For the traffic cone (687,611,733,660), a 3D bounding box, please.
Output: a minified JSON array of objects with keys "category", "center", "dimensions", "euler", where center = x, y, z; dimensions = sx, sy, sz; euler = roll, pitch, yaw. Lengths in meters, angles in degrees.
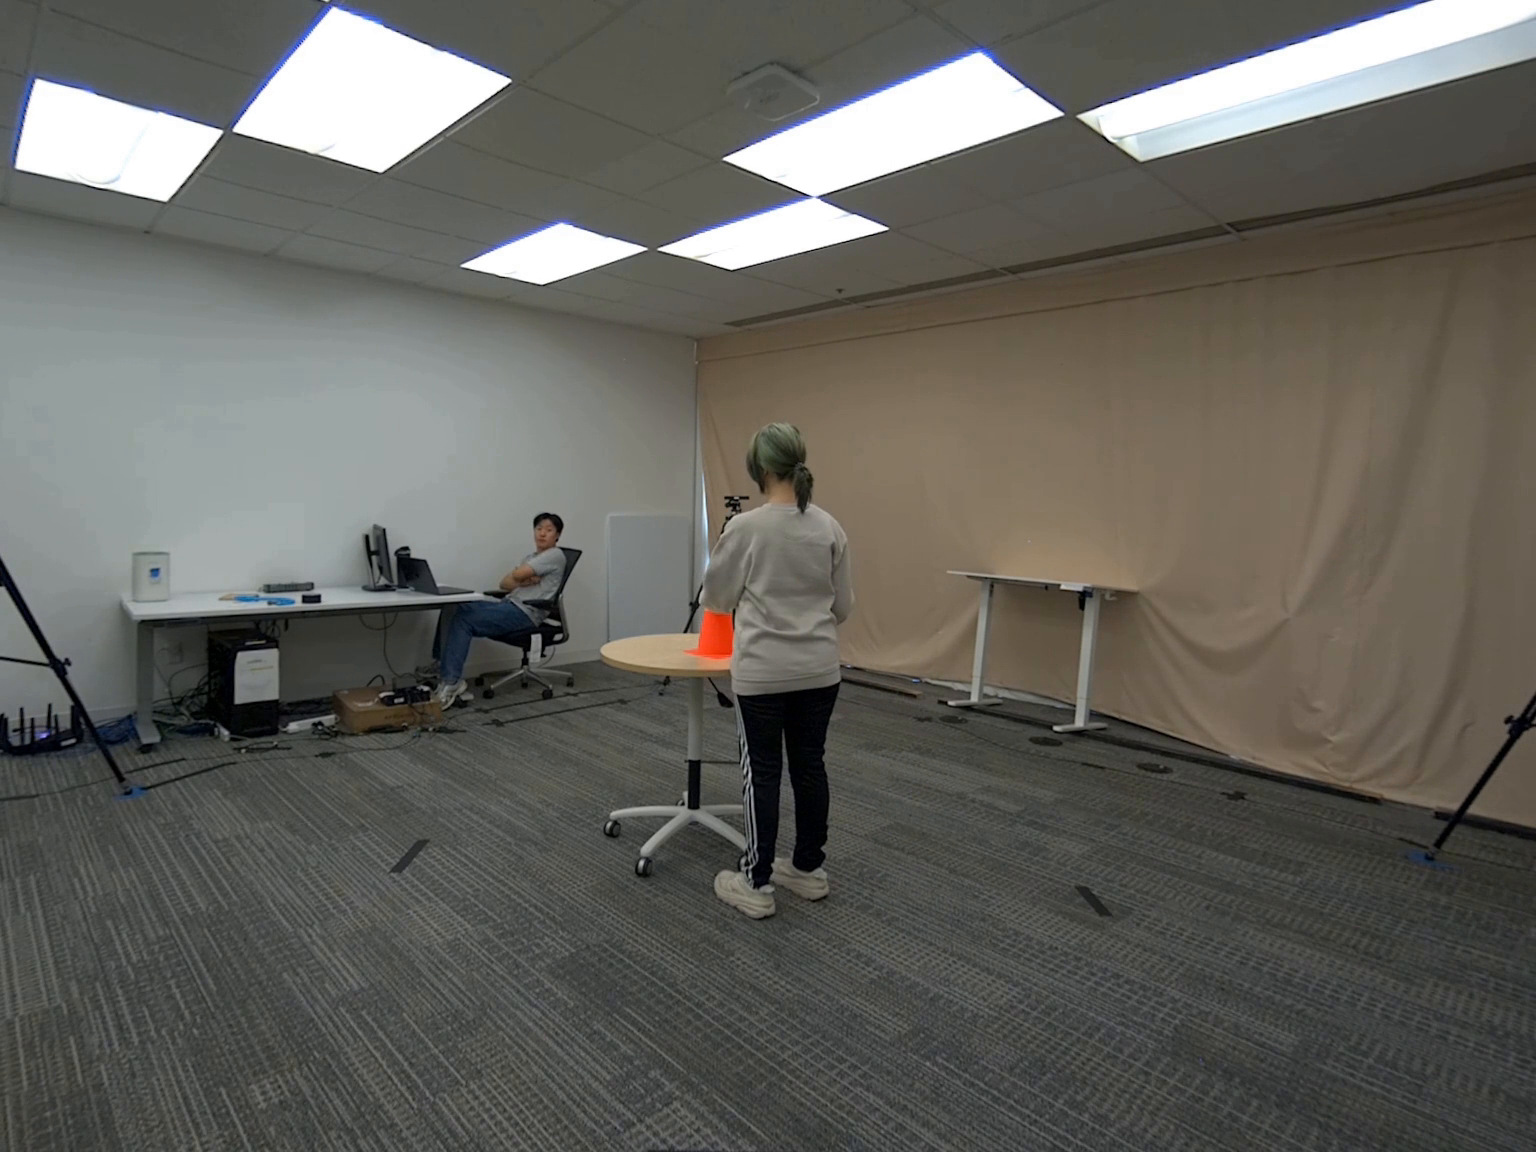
[{"category":"traffic cone","center":[-0.199,0.115,3.297],"dimensions":[0.208,0.383,0.200],"euler":[5,3,40]}]
